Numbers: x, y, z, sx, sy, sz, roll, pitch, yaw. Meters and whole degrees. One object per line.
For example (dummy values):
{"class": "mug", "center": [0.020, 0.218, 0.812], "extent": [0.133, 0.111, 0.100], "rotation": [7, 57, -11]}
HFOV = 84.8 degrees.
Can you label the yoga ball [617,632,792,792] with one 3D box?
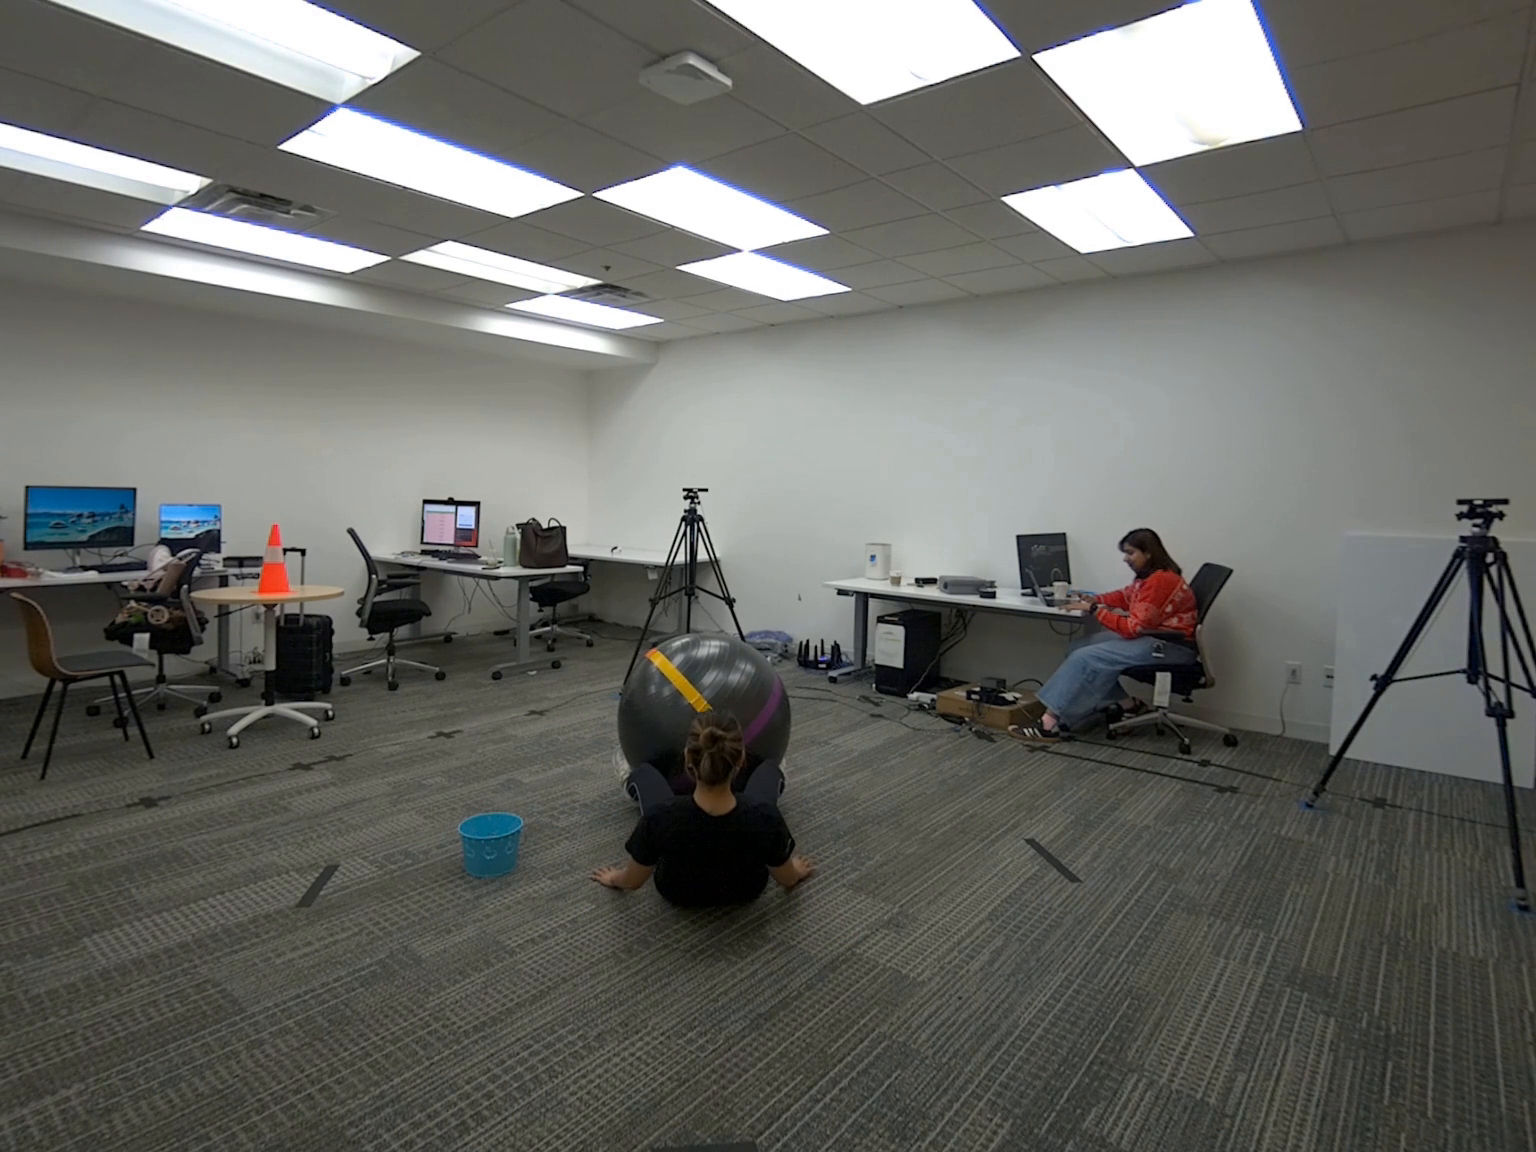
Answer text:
{"class": "yoga ball", "center": [-0.293, 0.625, 3.703], "extent": [0.757, 0.756, 0.762], "rotation": [1, 4, -2]}
